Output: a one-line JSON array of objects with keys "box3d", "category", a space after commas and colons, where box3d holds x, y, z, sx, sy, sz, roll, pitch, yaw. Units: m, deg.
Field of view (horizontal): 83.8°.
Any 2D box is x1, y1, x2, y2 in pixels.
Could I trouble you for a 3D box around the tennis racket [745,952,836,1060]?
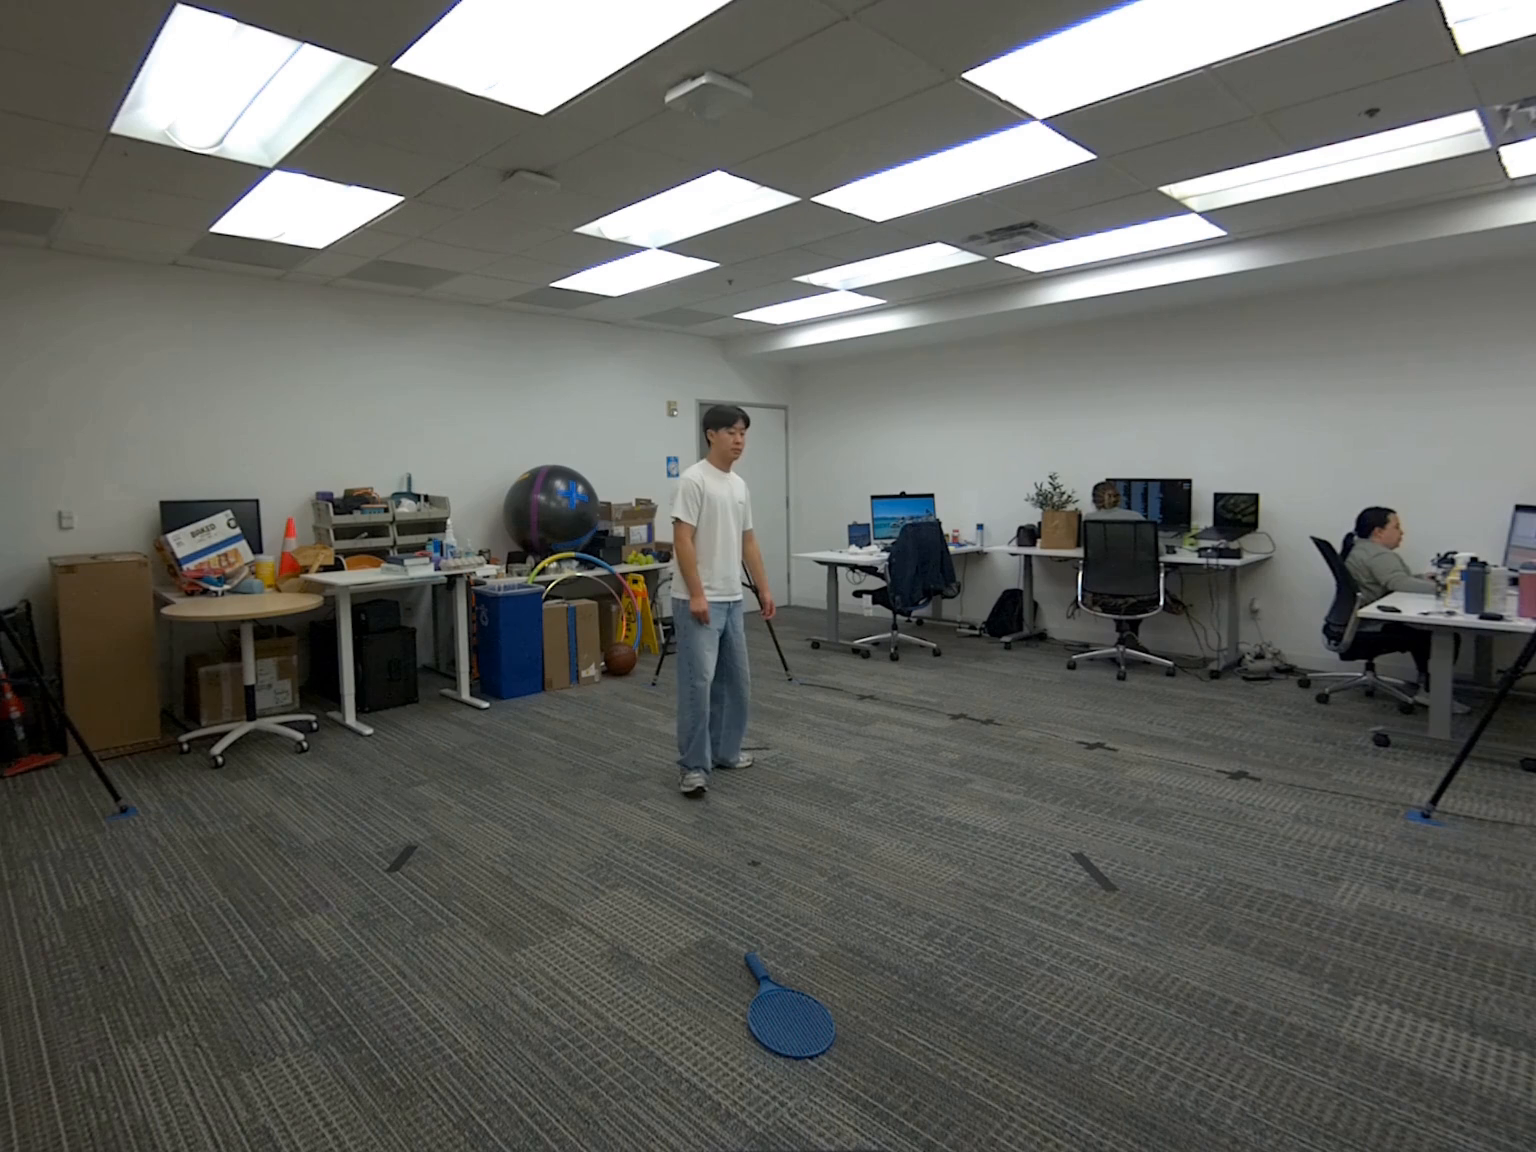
[{"box3d": [0.038, 1.124, 2.270, 0.210, 0.031, 0.442, -3, 8, -19], "category": "tennis racket"}]
